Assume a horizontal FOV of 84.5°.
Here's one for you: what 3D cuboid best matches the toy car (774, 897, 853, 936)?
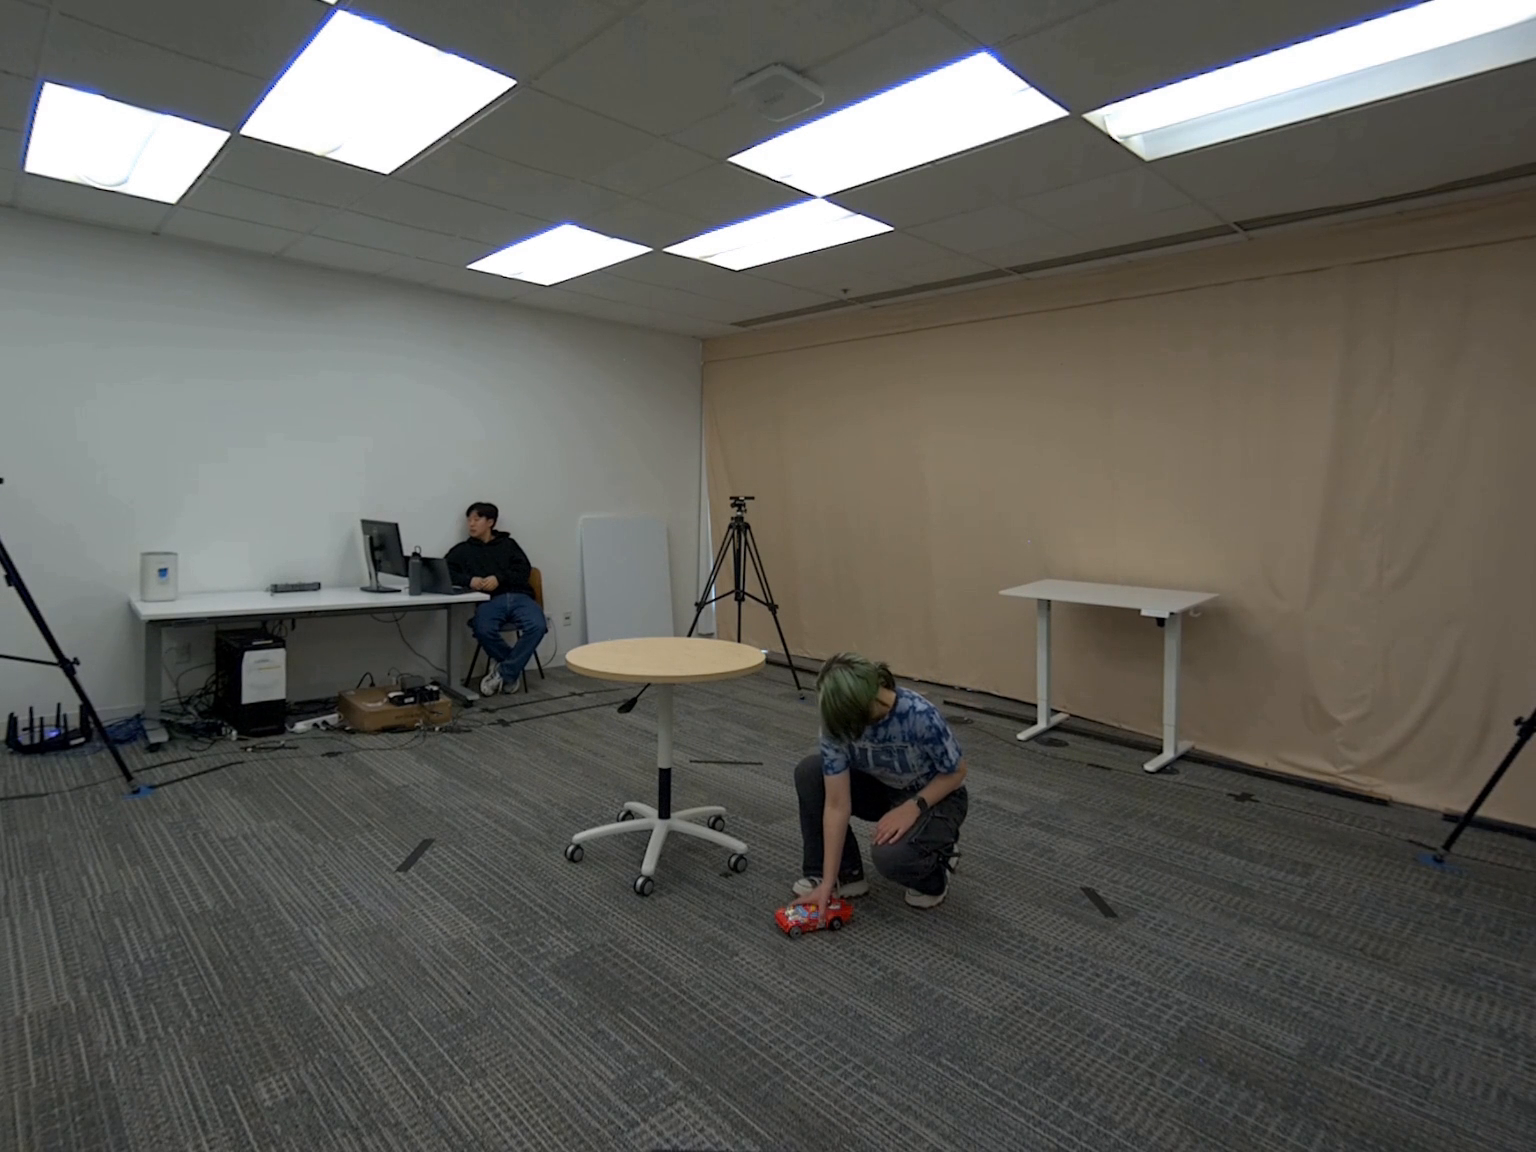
[{"bbox_3d":[0.150,1.109,2.747,0.251,0.083,0.133,-10,9,-19],"label":"toy car"}]
